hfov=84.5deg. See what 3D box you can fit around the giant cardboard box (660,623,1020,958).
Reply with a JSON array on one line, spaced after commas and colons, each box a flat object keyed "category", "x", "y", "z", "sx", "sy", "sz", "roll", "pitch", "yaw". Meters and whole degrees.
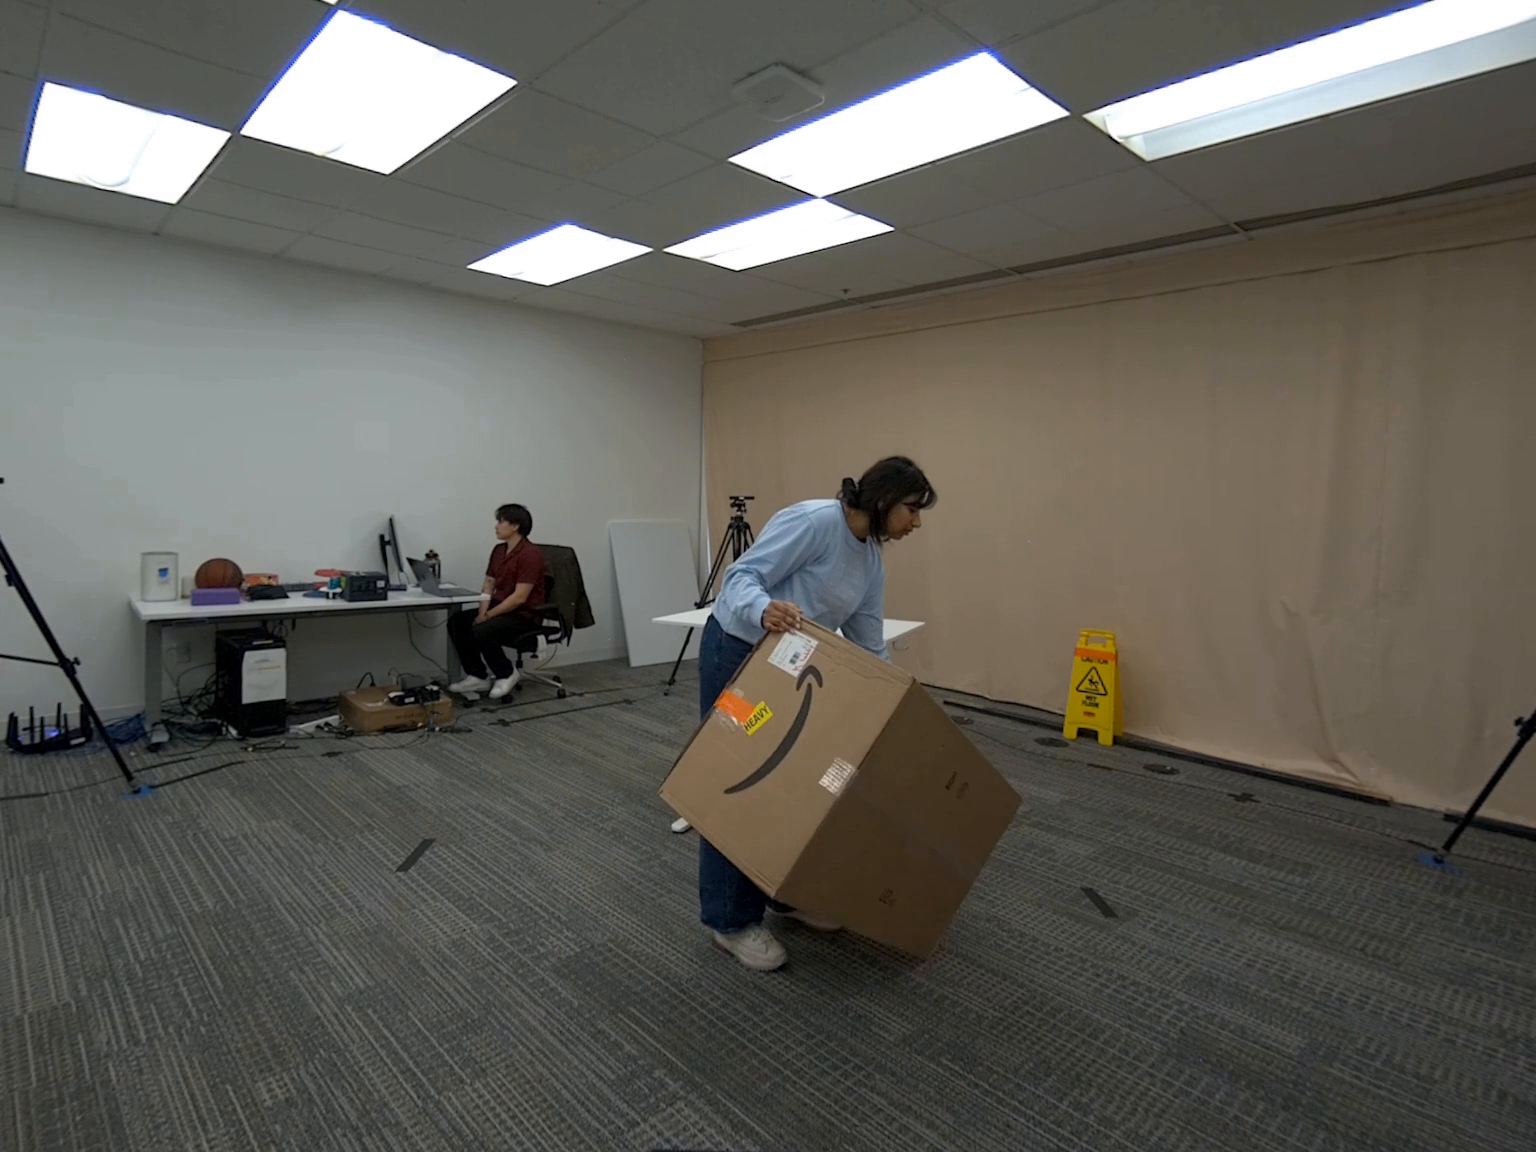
[{"category": "giant cardboard box", "x": 0.263, "y": 0.614, "z": 2.348, "sx": 0.439, "sy": 0.578, "sz": 0.993, "roll": 26, "pitch": -12, "yaw": 40}]
